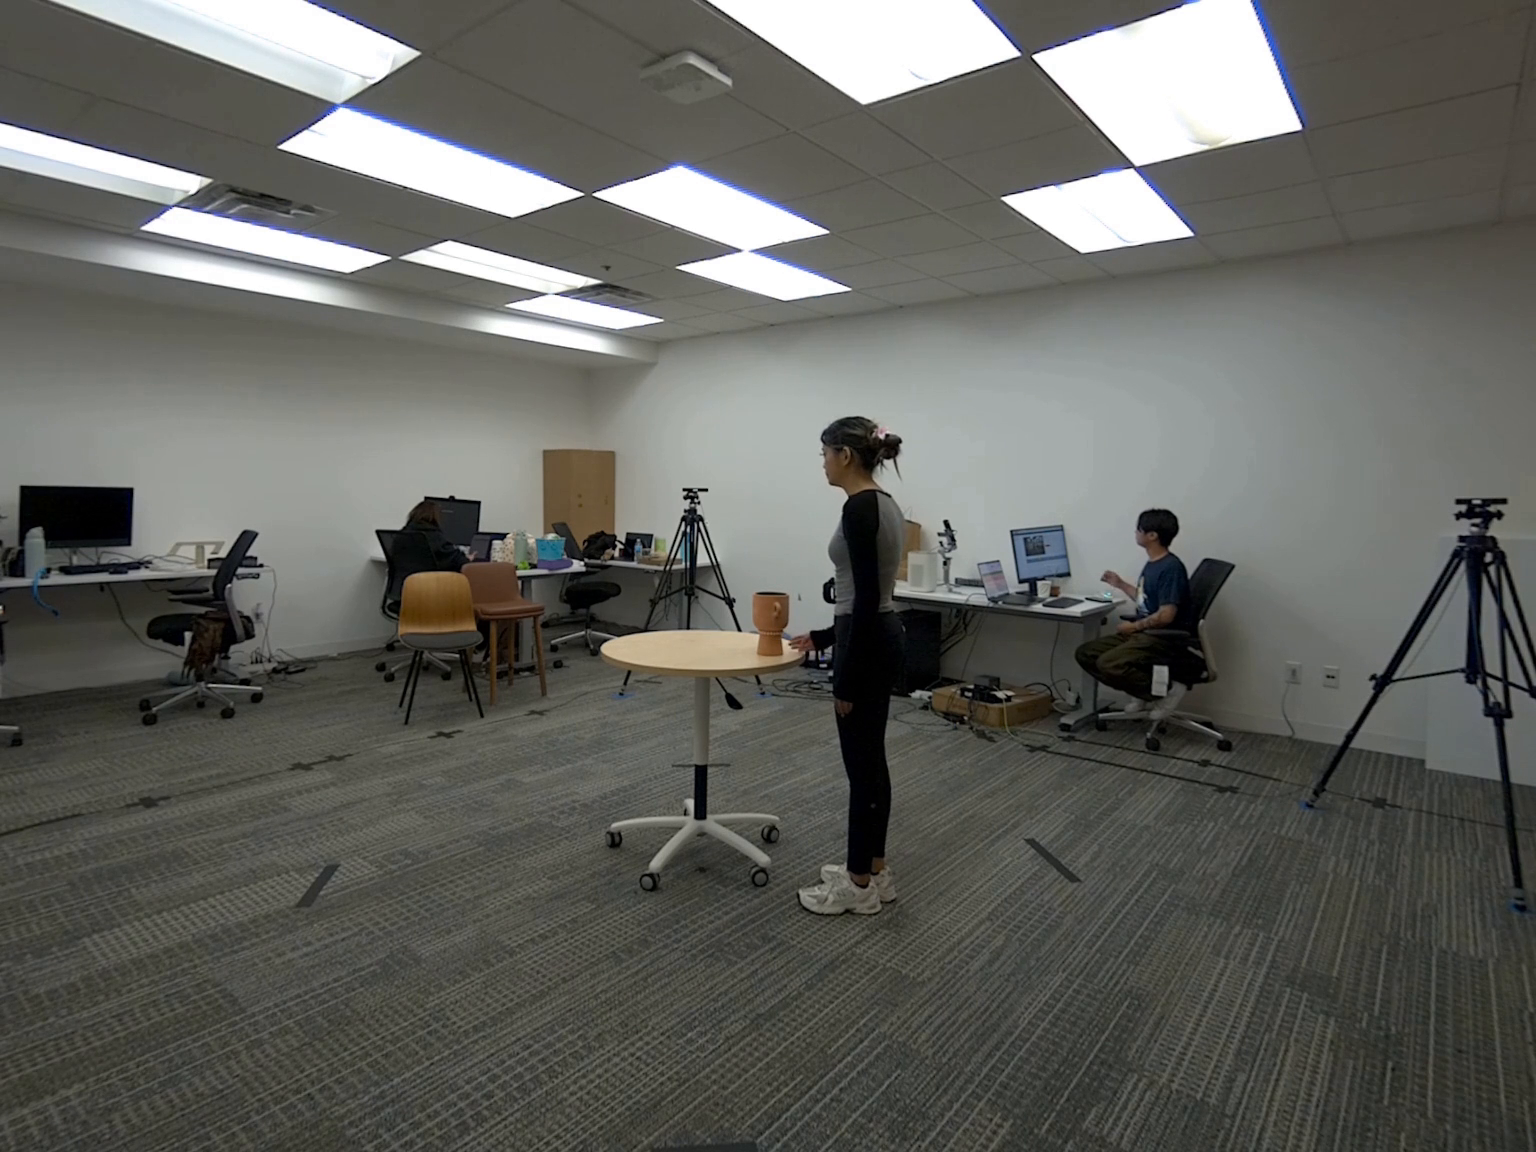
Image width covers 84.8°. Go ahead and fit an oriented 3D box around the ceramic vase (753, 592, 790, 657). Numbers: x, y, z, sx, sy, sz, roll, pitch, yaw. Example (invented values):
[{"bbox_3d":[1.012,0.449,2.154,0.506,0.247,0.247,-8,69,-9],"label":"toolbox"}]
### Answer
[{"bbox_3d":[0.005,0.170,3.106,0.138,0.219,0.155,2,2,24],"label":"ceramic vase"}]
